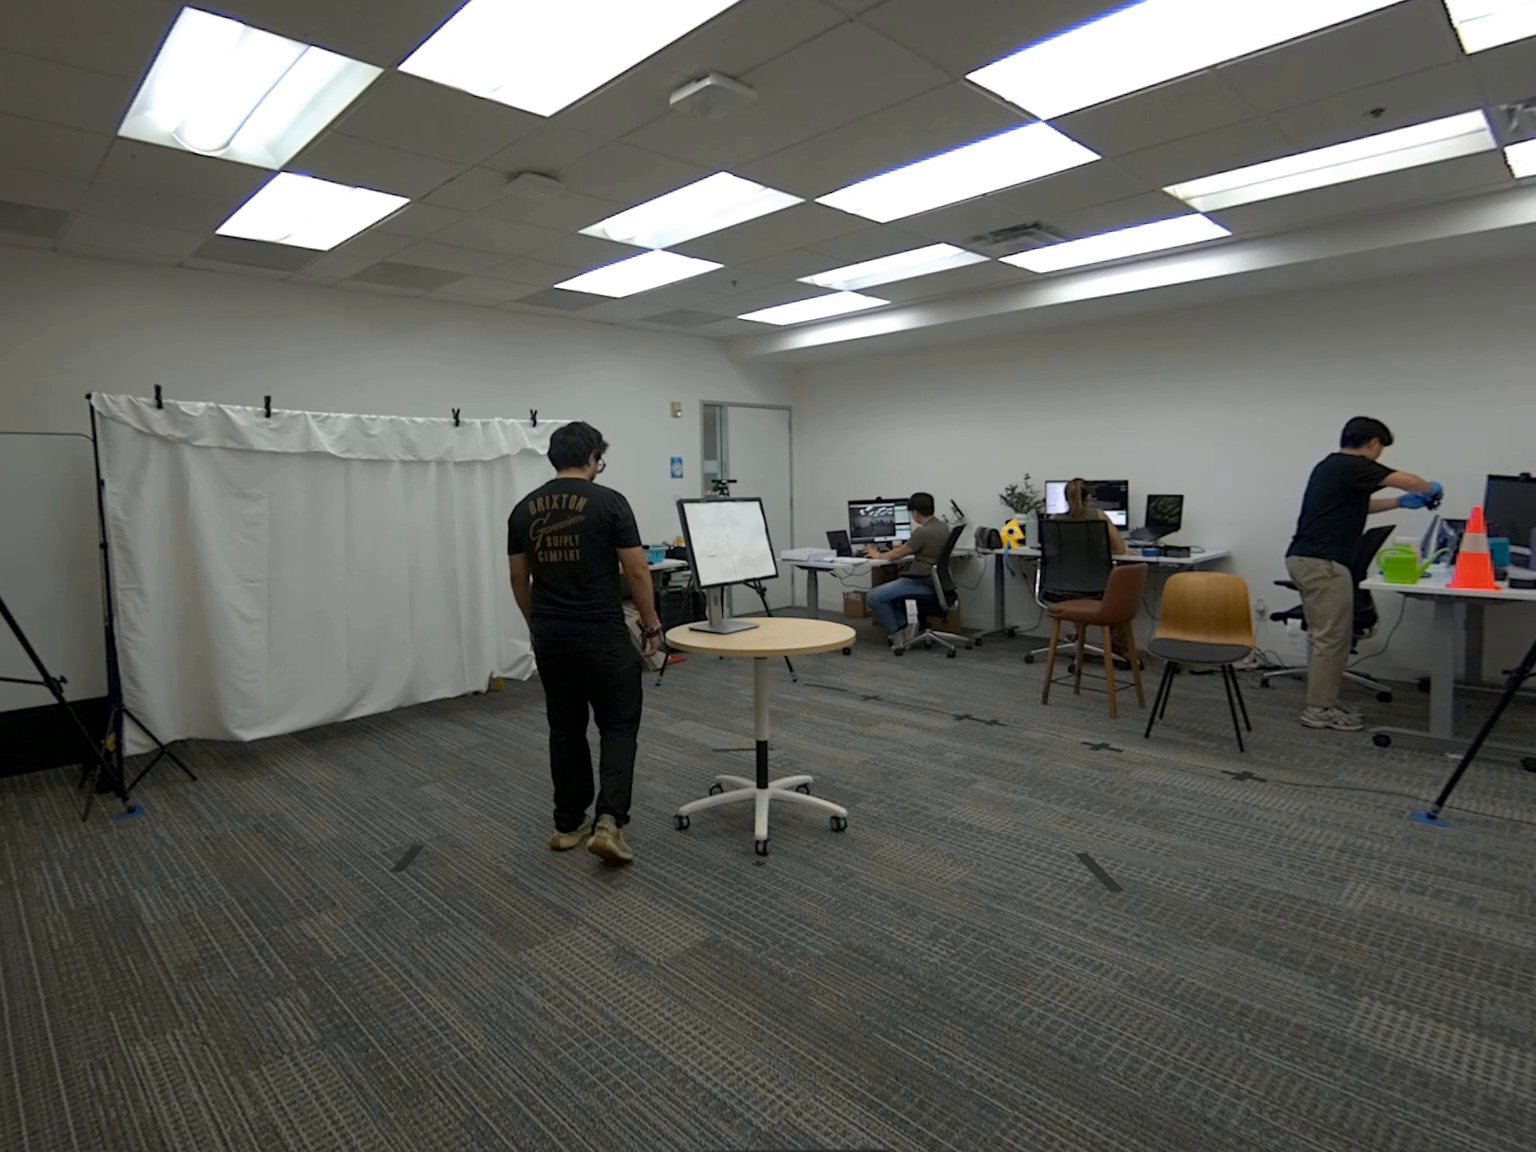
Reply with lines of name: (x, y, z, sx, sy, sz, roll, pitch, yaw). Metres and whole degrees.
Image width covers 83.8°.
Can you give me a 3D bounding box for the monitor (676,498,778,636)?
monitor: (-0.205, -0.048, 3.569, 0.215, 0.554, 0.552, -7, 0, 35)
